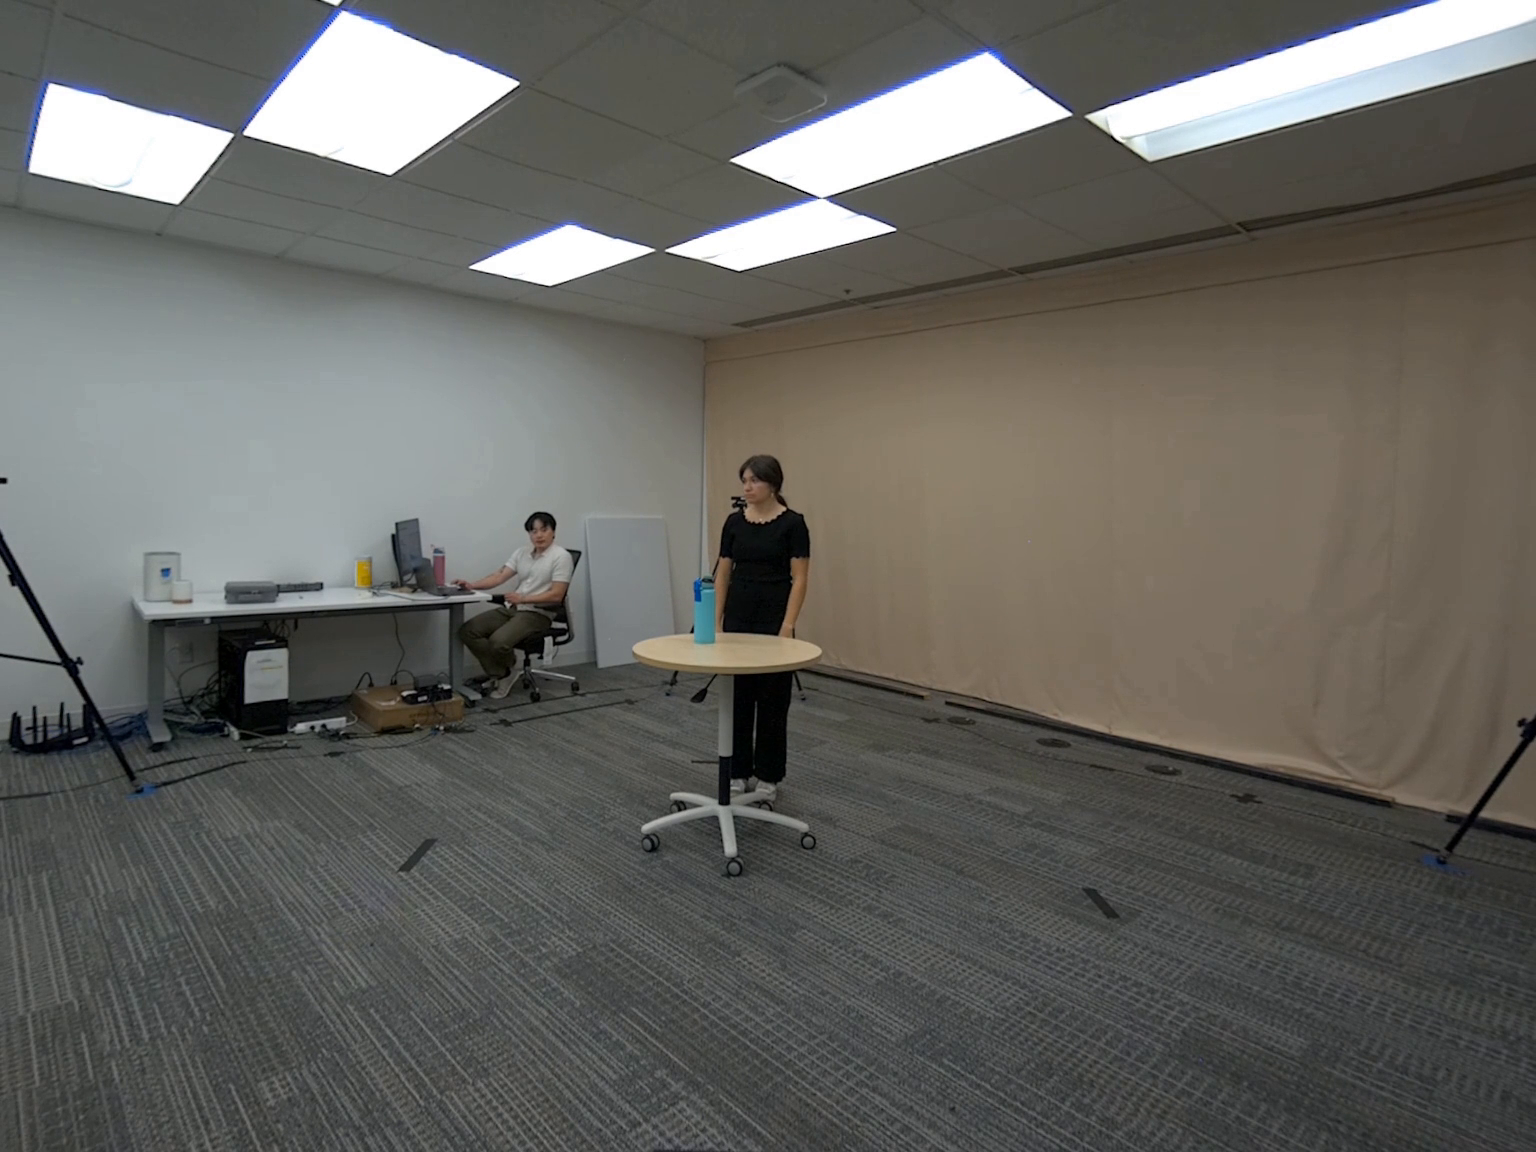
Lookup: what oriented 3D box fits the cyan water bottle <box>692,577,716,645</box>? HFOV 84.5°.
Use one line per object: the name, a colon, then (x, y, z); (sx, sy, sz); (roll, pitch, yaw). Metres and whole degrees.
cyan water bottle: (-0.278, 0.142, 3.538); (0.092, 0.282, 0.093); (1, 5, -1)
